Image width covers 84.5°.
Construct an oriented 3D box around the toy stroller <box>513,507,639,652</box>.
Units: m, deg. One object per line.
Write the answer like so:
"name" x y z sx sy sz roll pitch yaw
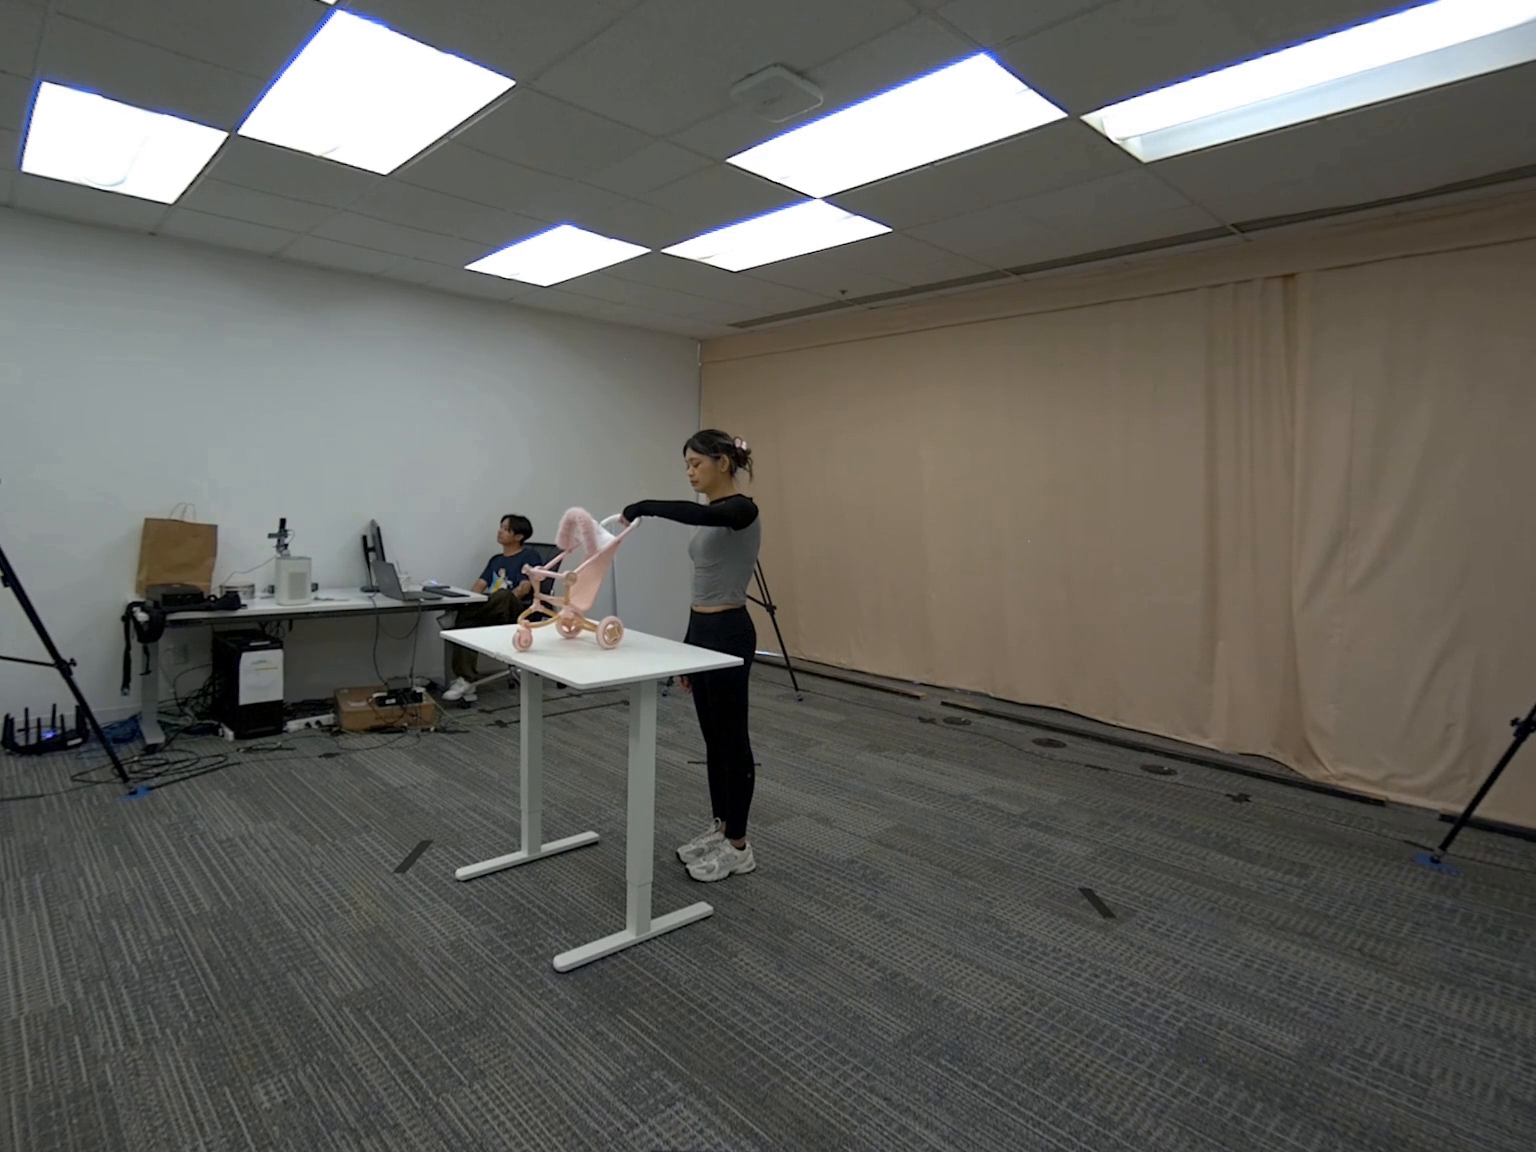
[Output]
"toy stroller" -0.664 0.013 2.837 0.332 0.537 0.288 16 -7 -39
